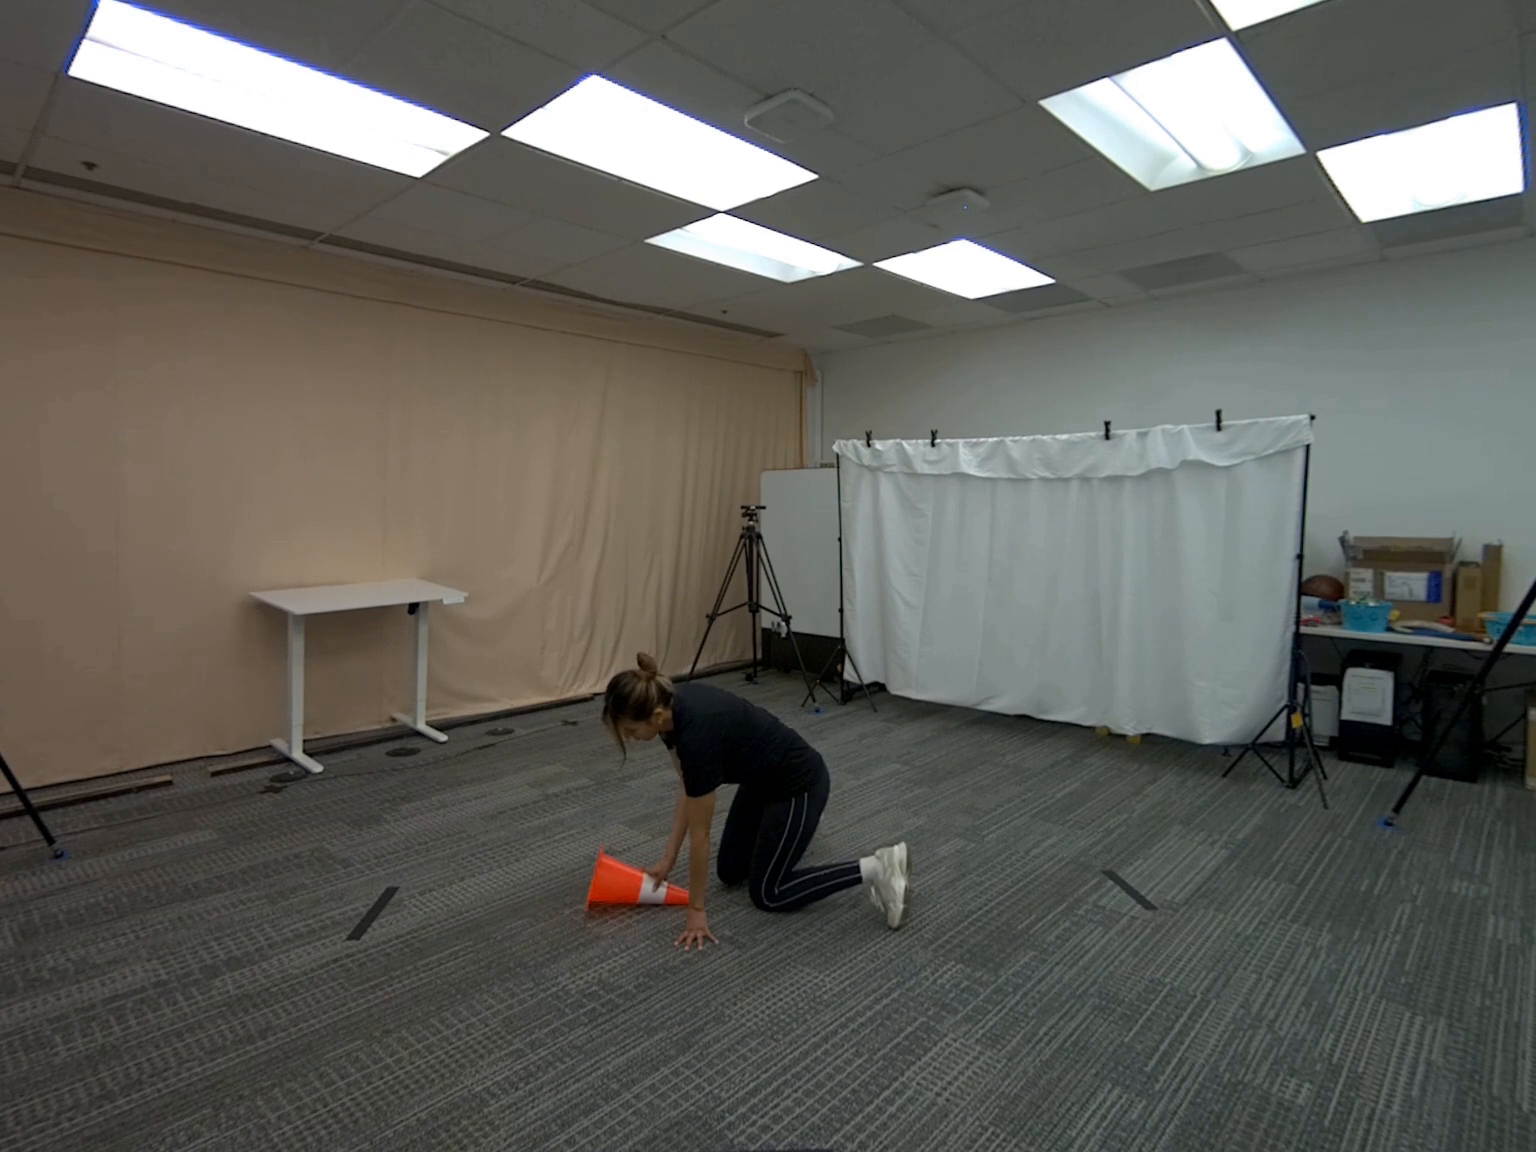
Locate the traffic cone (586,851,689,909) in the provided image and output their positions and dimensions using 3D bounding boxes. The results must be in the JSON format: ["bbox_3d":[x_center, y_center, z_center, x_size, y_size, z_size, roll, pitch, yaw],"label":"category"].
[{"bbox_3d":[-0.424,1.104,2.950,0.381,0.204,0.205,14,-10,-5],"label":"traffic cone"}]
